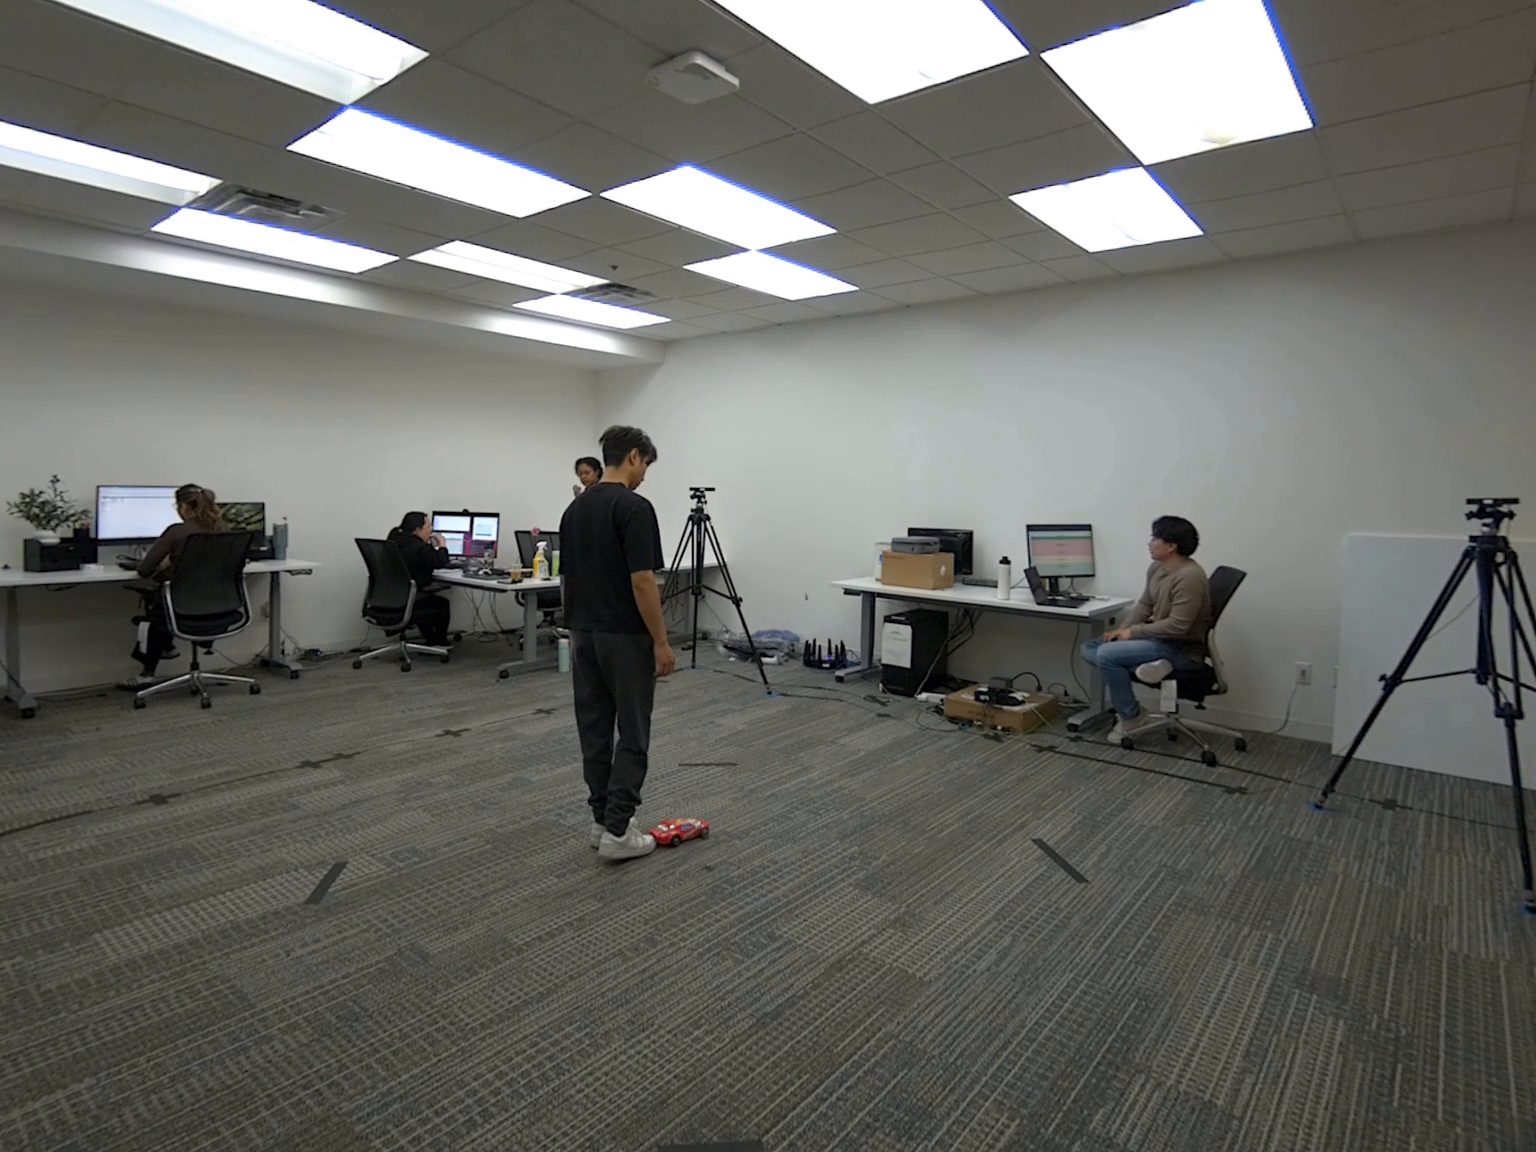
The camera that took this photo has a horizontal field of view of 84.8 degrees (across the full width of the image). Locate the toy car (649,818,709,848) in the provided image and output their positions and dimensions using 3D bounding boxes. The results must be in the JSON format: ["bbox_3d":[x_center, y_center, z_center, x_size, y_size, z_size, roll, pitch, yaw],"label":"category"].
[{"bbox_3d":[-0.365,1.010,3.364,0.245,0.083,0.135,11,-3,-39],"label":"toy car"}]
